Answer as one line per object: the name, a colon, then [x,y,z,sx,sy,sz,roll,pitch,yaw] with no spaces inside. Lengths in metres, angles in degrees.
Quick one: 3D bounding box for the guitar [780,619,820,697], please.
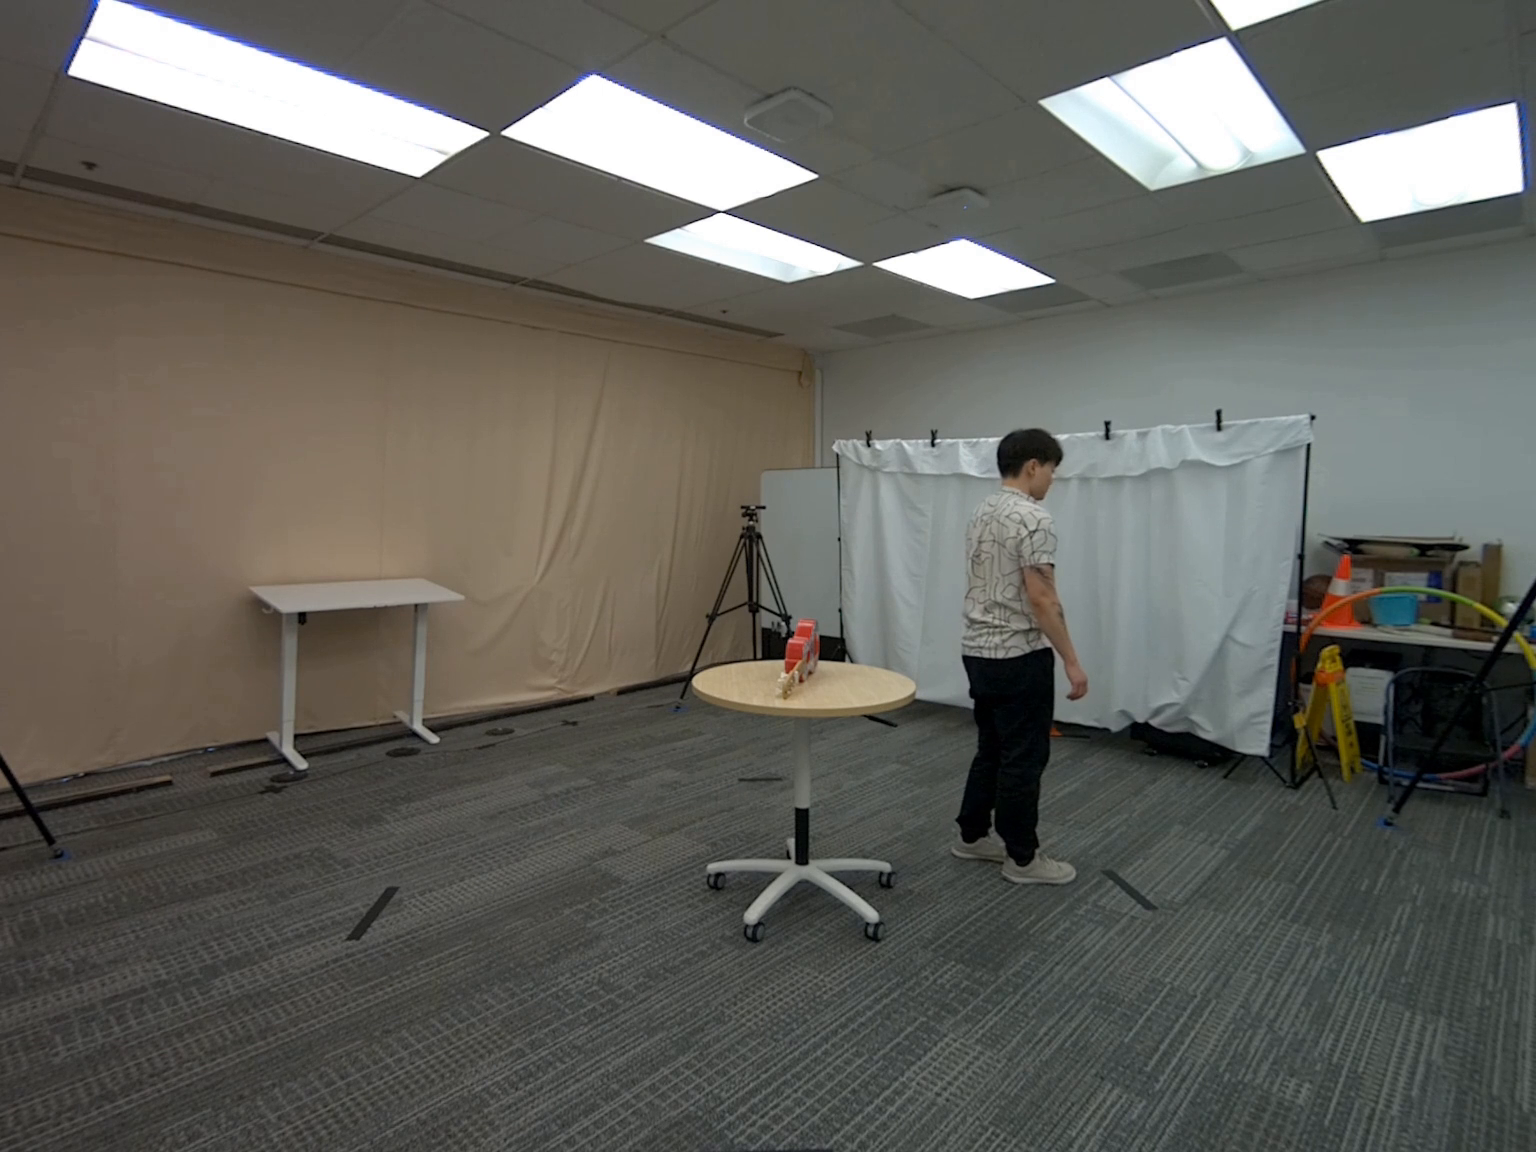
guitar: [0.098,0.276,2.870,0.072,0.192,0.492,3,7,11]
